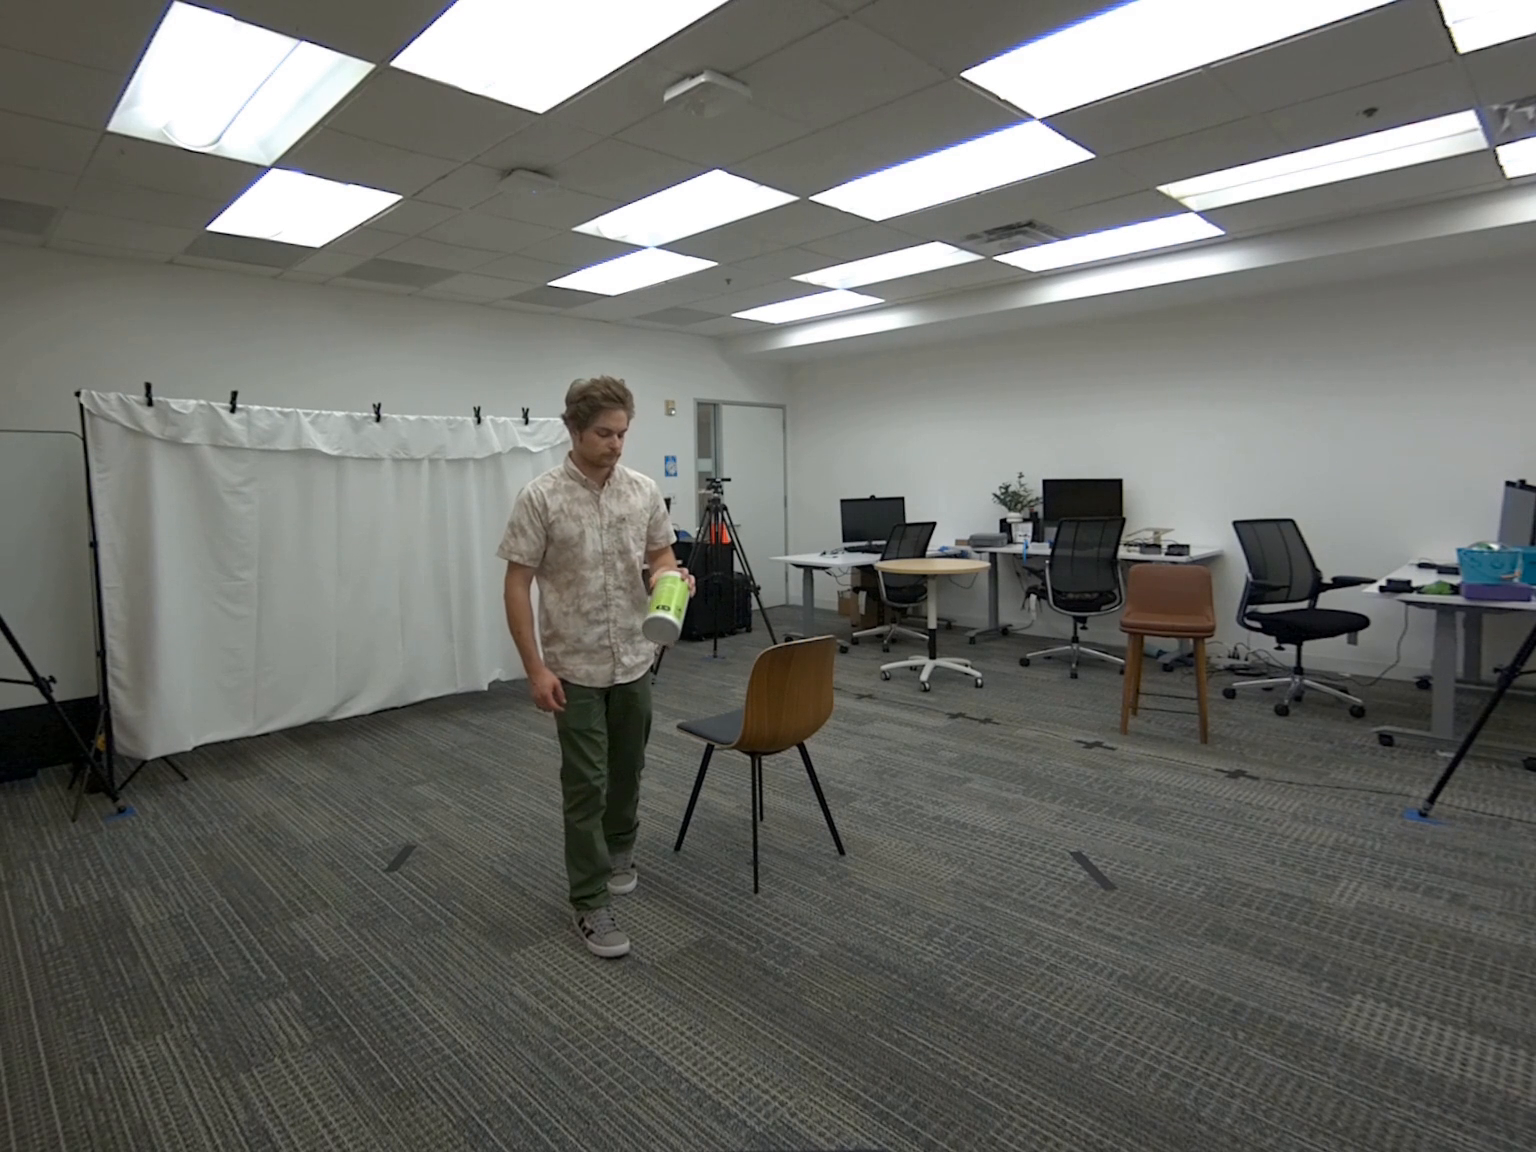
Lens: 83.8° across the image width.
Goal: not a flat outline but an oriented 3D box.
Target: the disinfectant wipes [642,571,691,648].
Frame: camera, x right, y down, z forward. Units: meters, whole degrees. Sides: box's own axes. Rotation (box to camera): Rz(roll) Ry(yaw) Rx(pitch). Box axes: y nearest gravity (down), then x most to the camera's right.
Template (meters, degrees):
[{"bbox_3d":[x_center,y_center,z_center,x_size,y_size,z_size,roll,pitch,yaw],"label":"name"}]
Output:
[{"bbox_3d":[-0.299,0.094,2.456,0.118,0.114,0.222,-1,36,6],"label":"disinfectant wipes"}]
